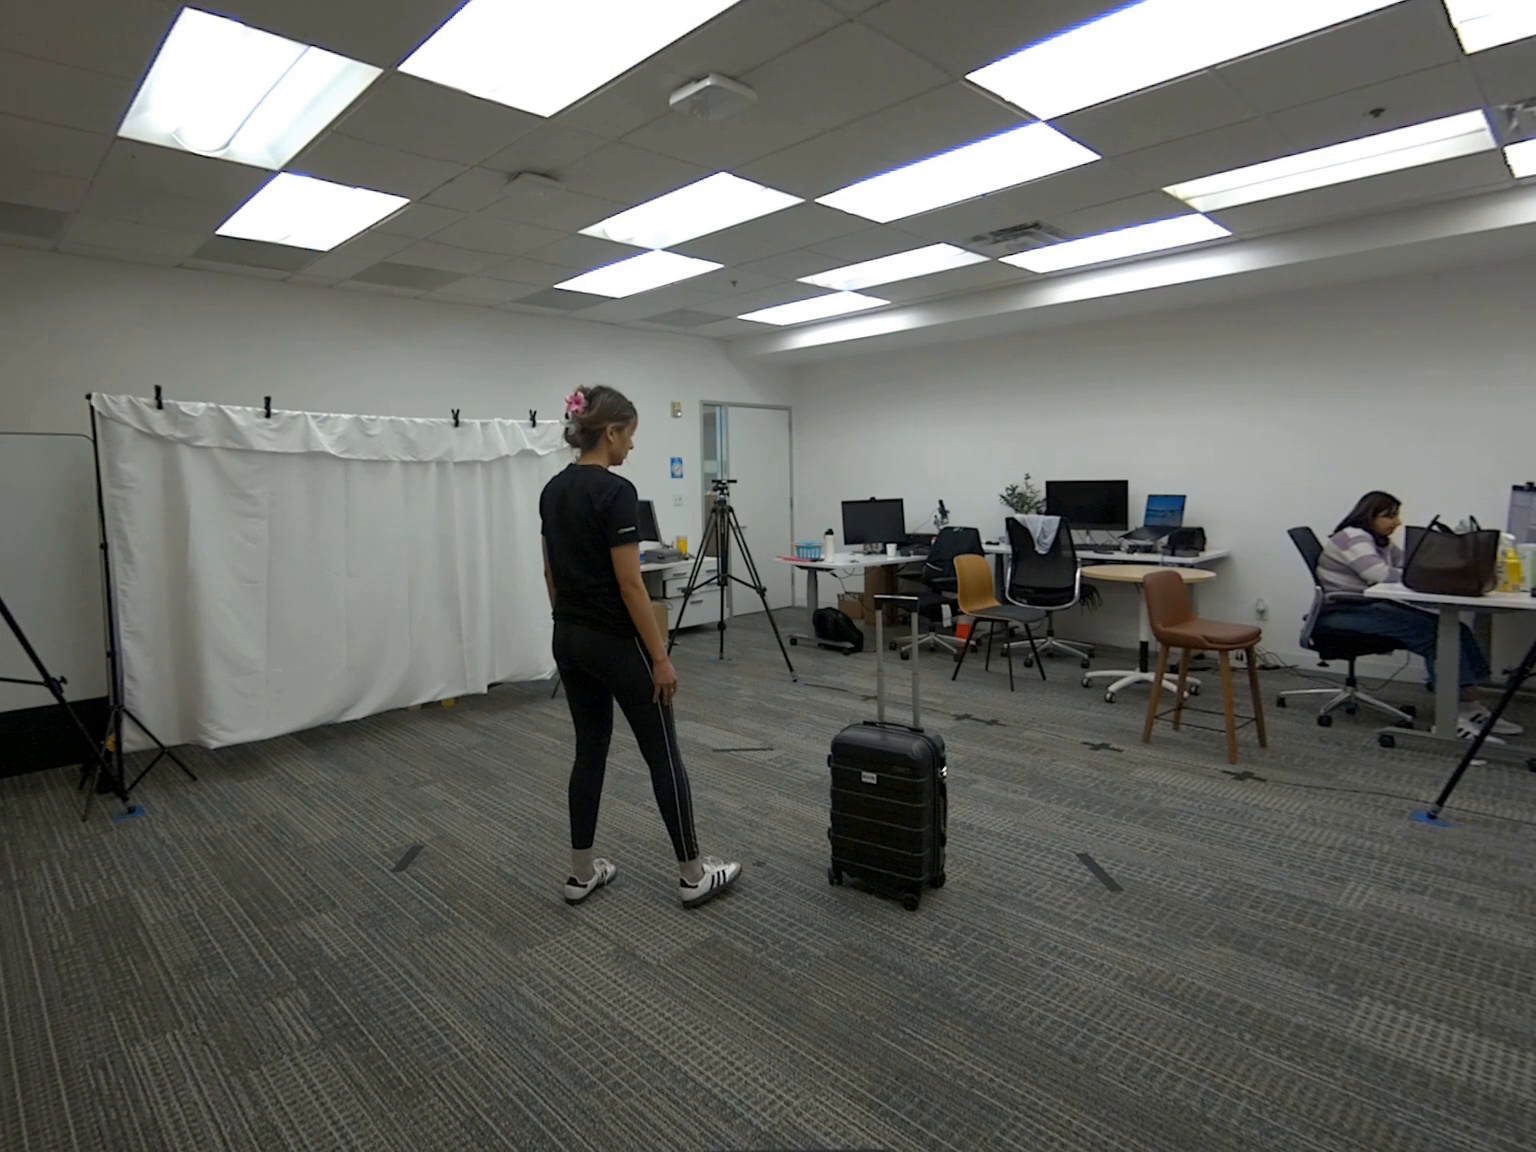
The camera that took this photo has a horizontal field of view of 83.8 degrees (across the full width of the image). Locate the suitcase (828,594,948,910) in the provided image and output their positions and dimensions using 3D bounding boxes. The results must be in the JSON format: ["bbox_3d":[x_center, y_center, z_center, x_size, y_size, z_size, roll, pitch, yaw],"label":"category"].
[{"bbox_3d":[0.419,0.589,2.904,0.394,0.973,0.252,2,7,29],"label":"suitcase"}]
